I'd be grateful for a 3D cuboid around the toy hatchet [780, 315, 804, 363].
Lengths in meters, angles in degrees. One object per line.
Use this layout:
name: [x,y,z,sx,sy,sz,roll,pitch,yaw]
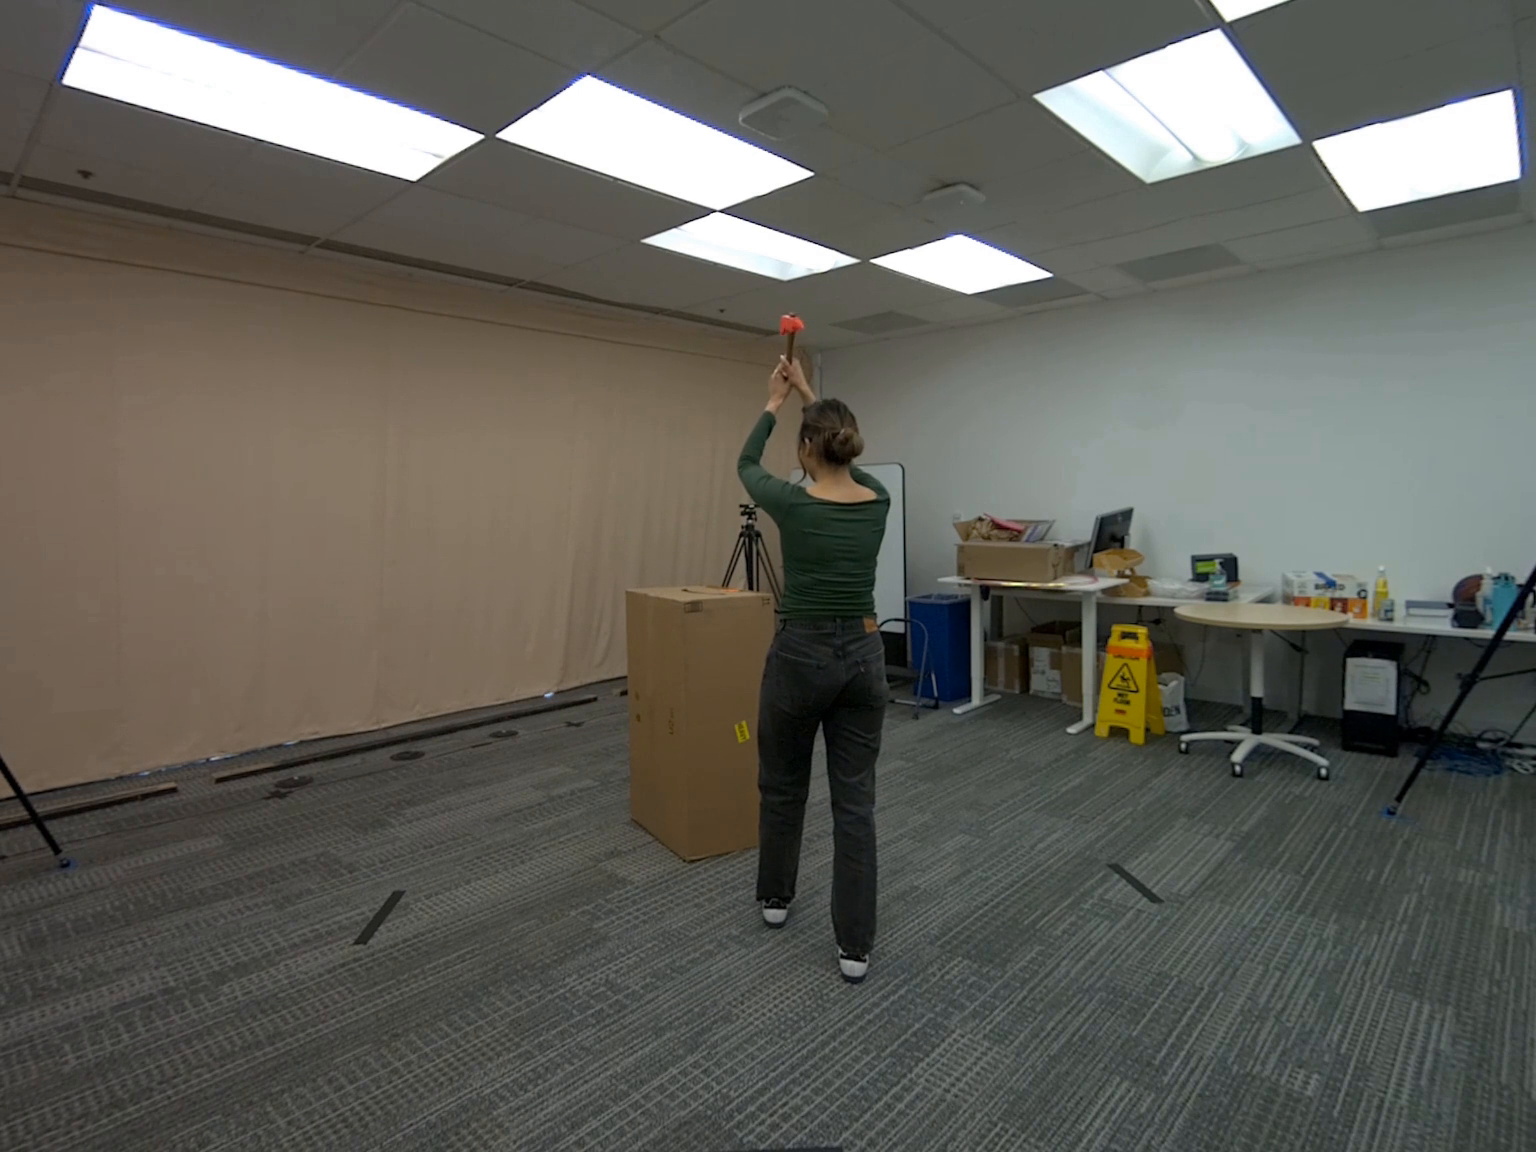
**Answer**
toy hatchet: [0.050,-0.726,2.765,0.029,0.268,0.135,-12,51,-29]
